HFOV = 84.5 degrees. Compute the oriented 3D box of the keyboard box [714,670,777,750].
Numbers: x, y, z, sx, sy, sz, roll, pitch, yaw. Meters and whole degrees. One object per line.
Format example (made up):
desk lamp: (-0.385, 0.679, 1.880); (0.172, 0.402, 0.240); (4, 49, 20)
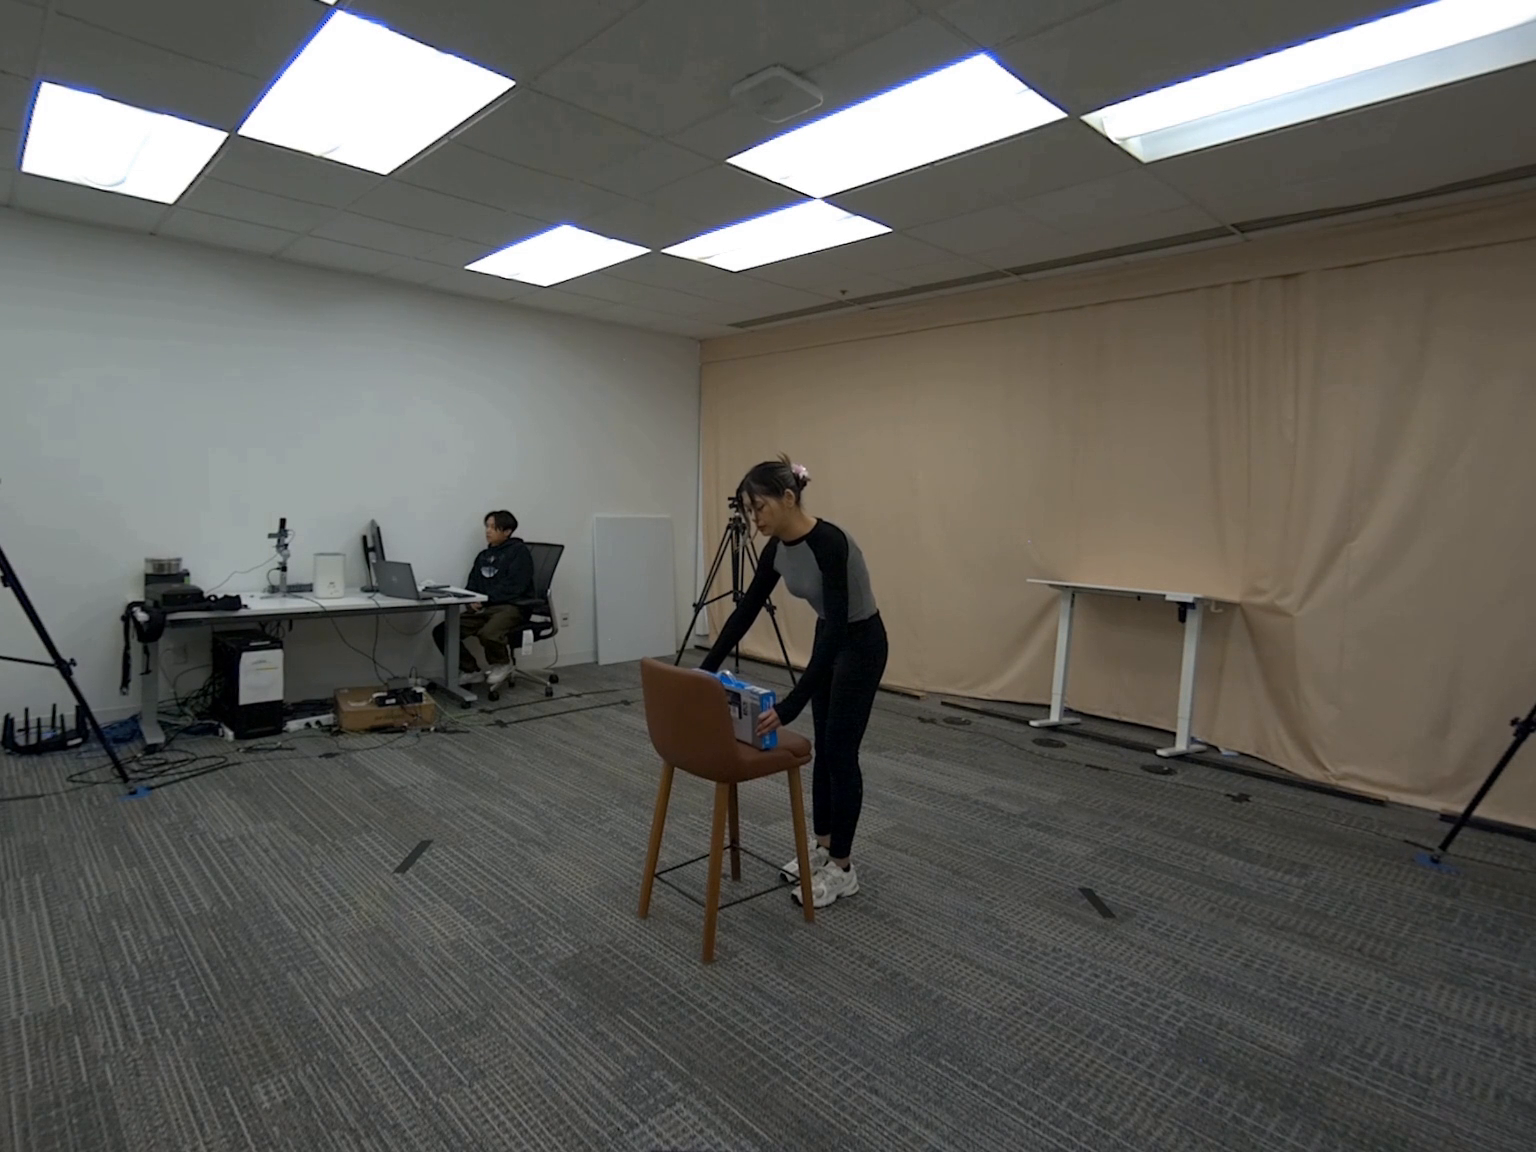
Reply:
keyboard box: (-0.137, 0.433, 2.767); (0.058, 0.175, 0.448); (-6, 8, -36)
